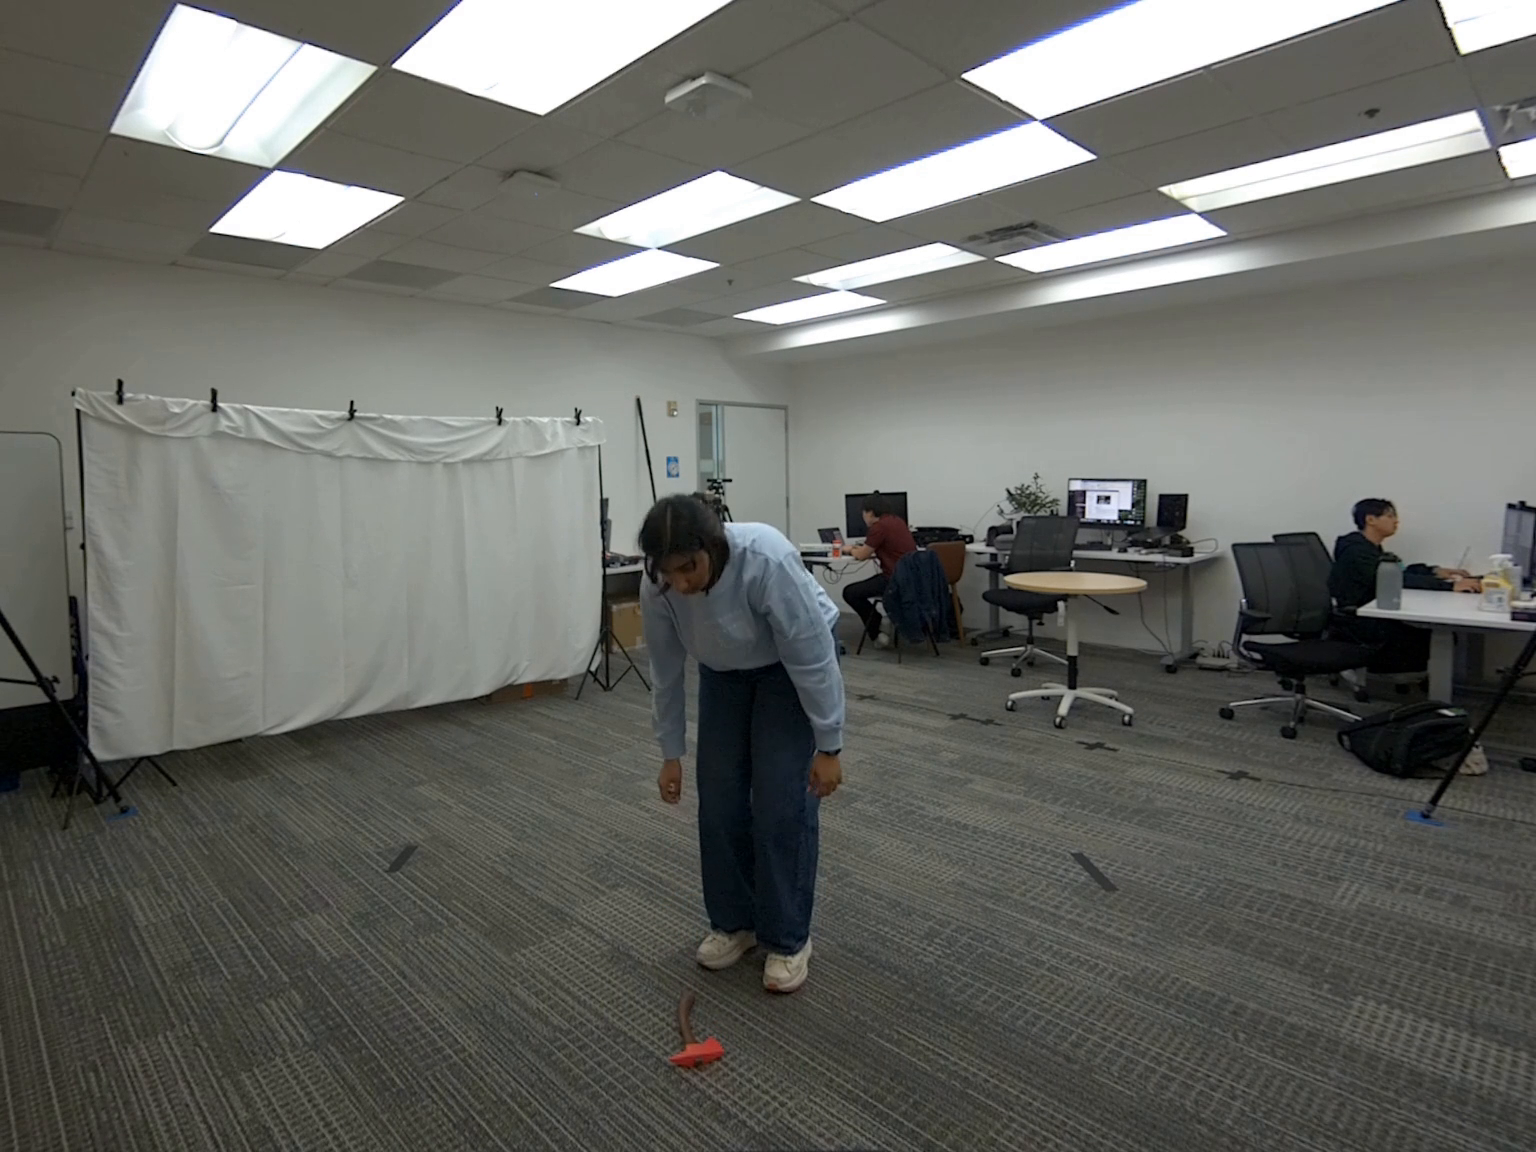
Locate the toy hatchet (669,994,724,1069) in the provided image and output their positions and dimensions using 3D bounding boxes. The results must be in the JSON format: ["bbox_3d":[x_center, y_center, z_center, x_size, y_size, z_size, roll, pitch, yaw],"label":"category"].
[{"bbox_3d":[-0.162,1.148,2.162,0.131,0.029,0.270,0,5,1],"label":"toy hatchet"}]
